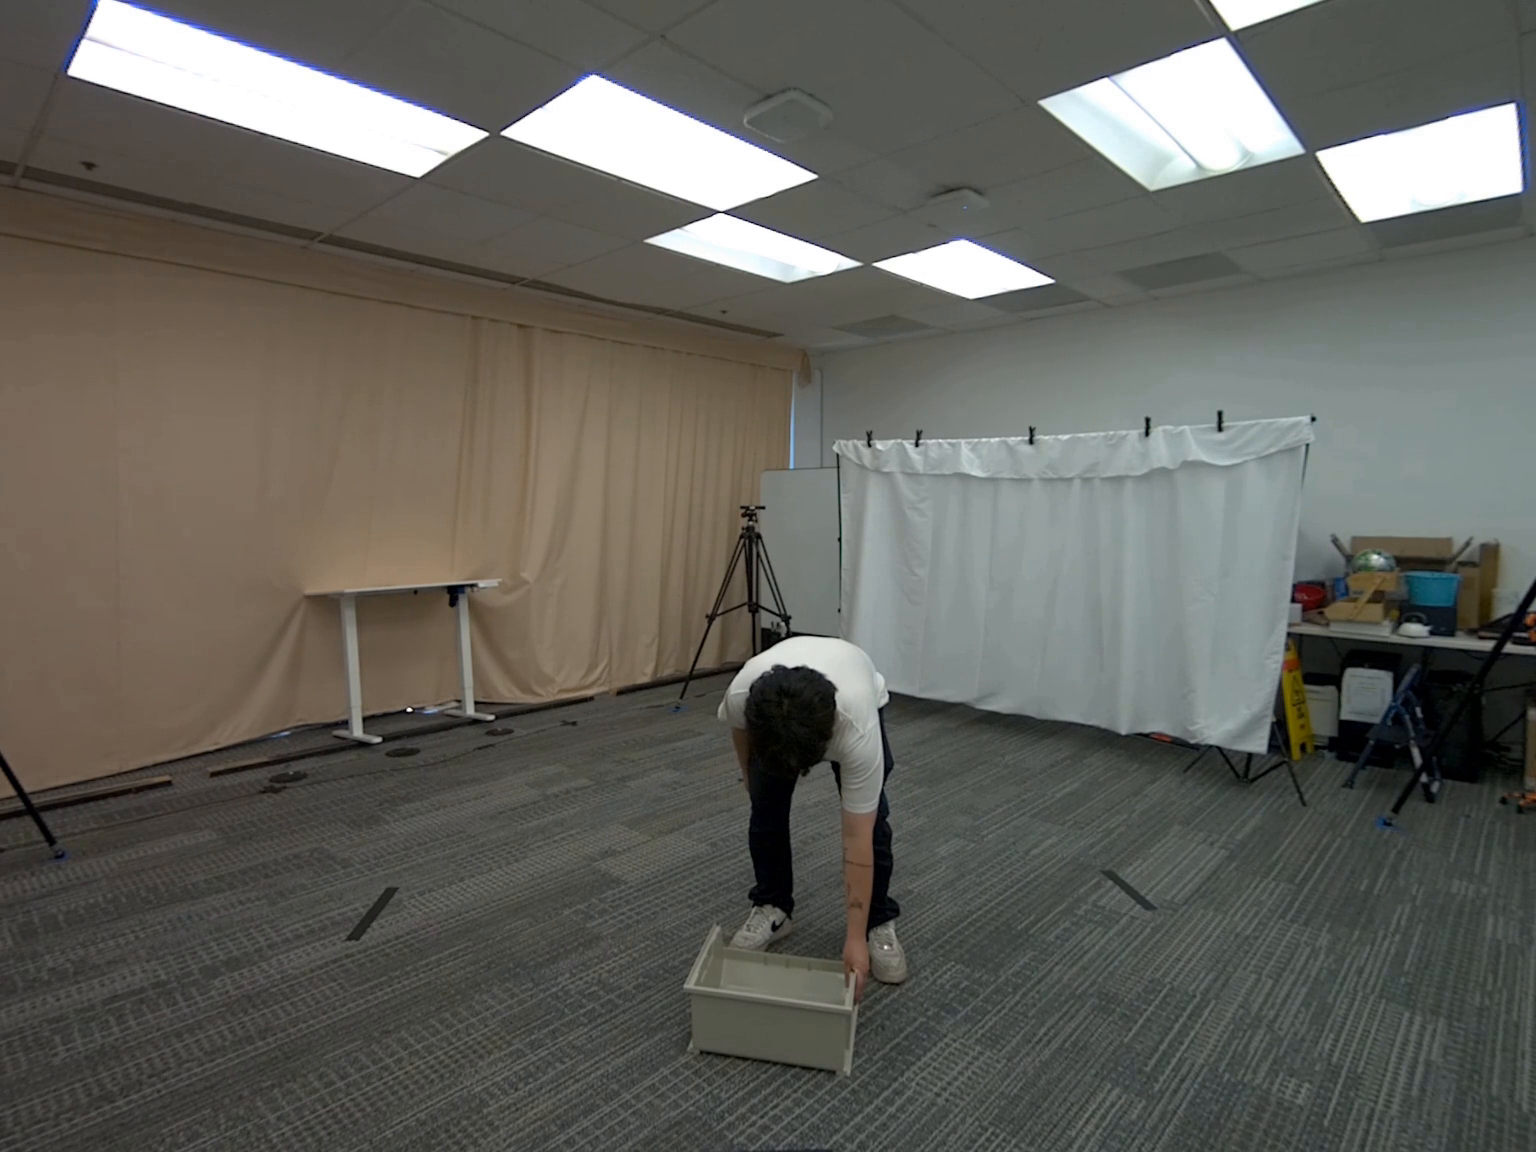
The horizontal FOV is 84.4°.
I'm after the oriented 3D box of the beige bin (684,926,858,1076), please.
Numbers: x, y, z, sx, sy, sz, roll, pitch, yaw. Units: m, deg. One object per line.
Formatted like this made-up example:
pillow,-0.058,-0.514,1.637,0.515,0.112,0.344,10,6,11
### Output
beige bin,0.028,1.114,2.267,0.428,0.188,0.373,1,6,12
